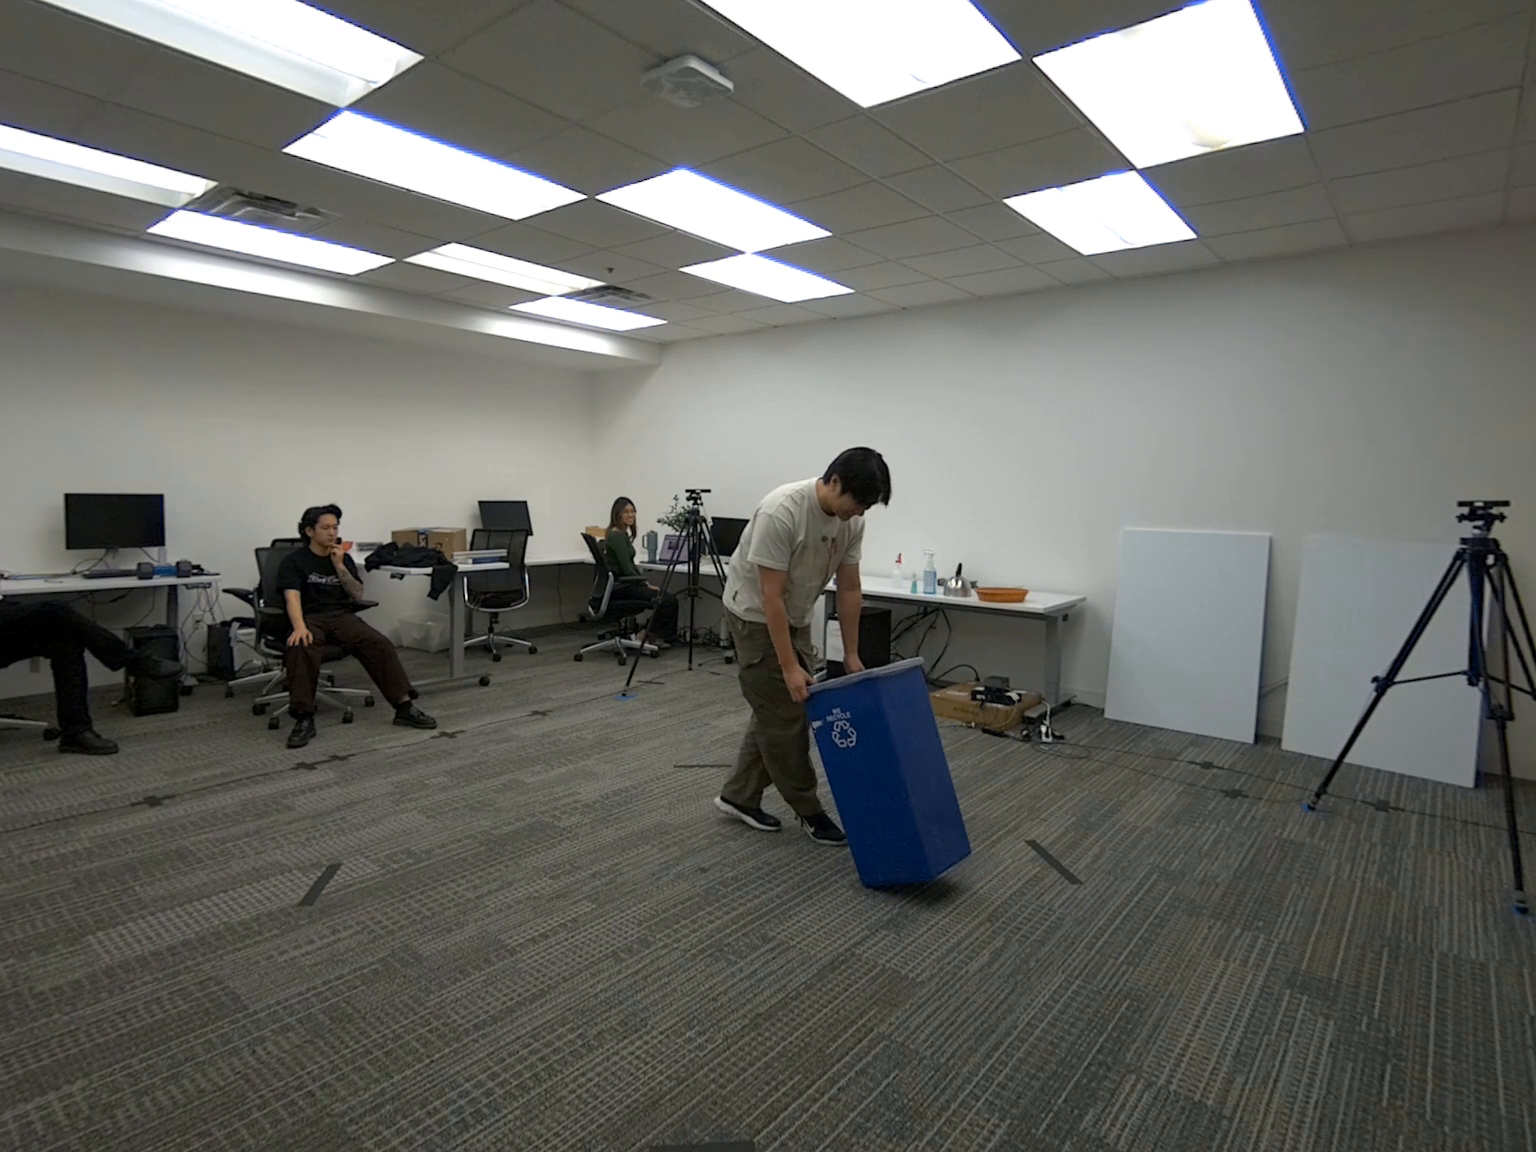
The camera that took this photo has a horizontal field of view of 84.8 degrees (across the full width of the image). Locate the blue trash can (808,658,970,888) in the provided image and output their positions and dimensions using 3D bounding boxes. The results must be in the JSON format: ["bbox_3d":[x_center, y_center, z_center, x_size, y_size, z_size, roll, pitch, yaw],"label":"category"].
[{"bbox_3d":[0.433,0.699,3.094,0.380,0.724,0.367,-25,-14,39],"label":"blue trash can"}]
